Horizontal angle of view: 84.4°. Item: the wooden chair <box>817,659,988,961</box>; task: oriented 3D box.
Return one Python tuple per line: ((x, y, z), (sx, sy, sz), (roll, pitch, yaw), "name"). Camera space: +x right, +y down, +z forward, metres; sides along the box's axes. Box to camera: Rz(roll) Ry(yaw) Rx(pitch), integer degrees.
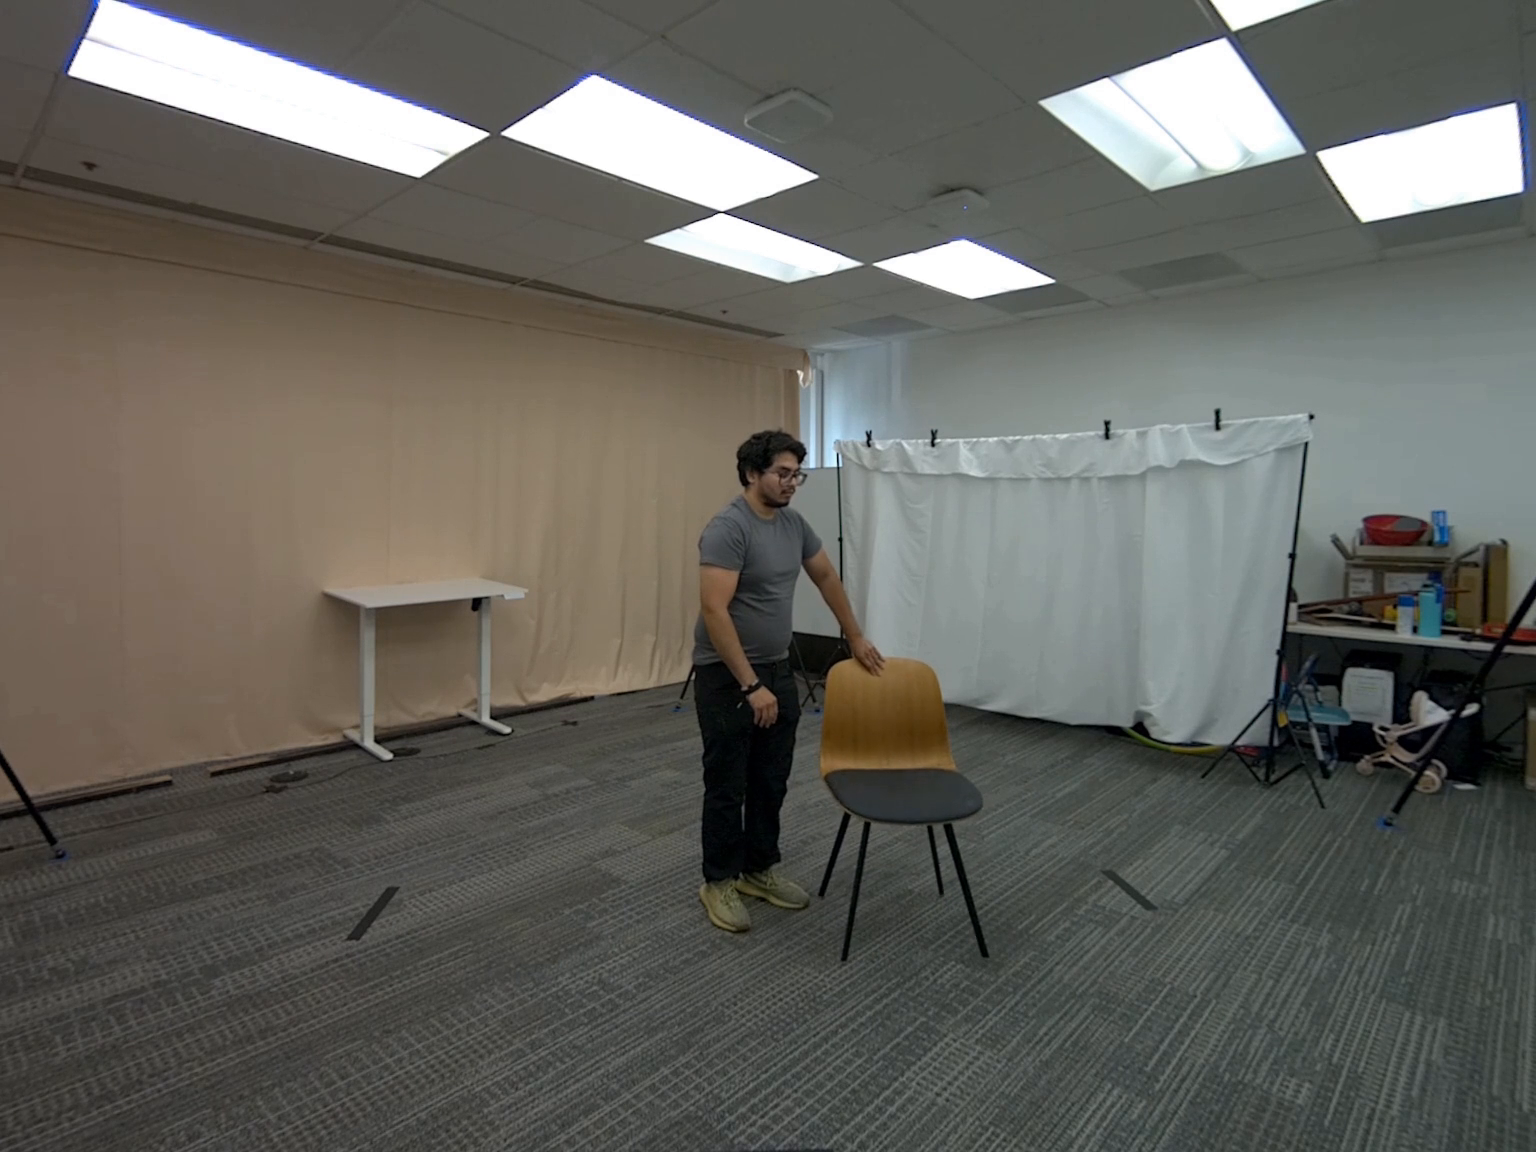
((0.434, 0.727, 2.760), (0.477, 0.878, 0.524), (0, -2, -3), "wooden chair")
